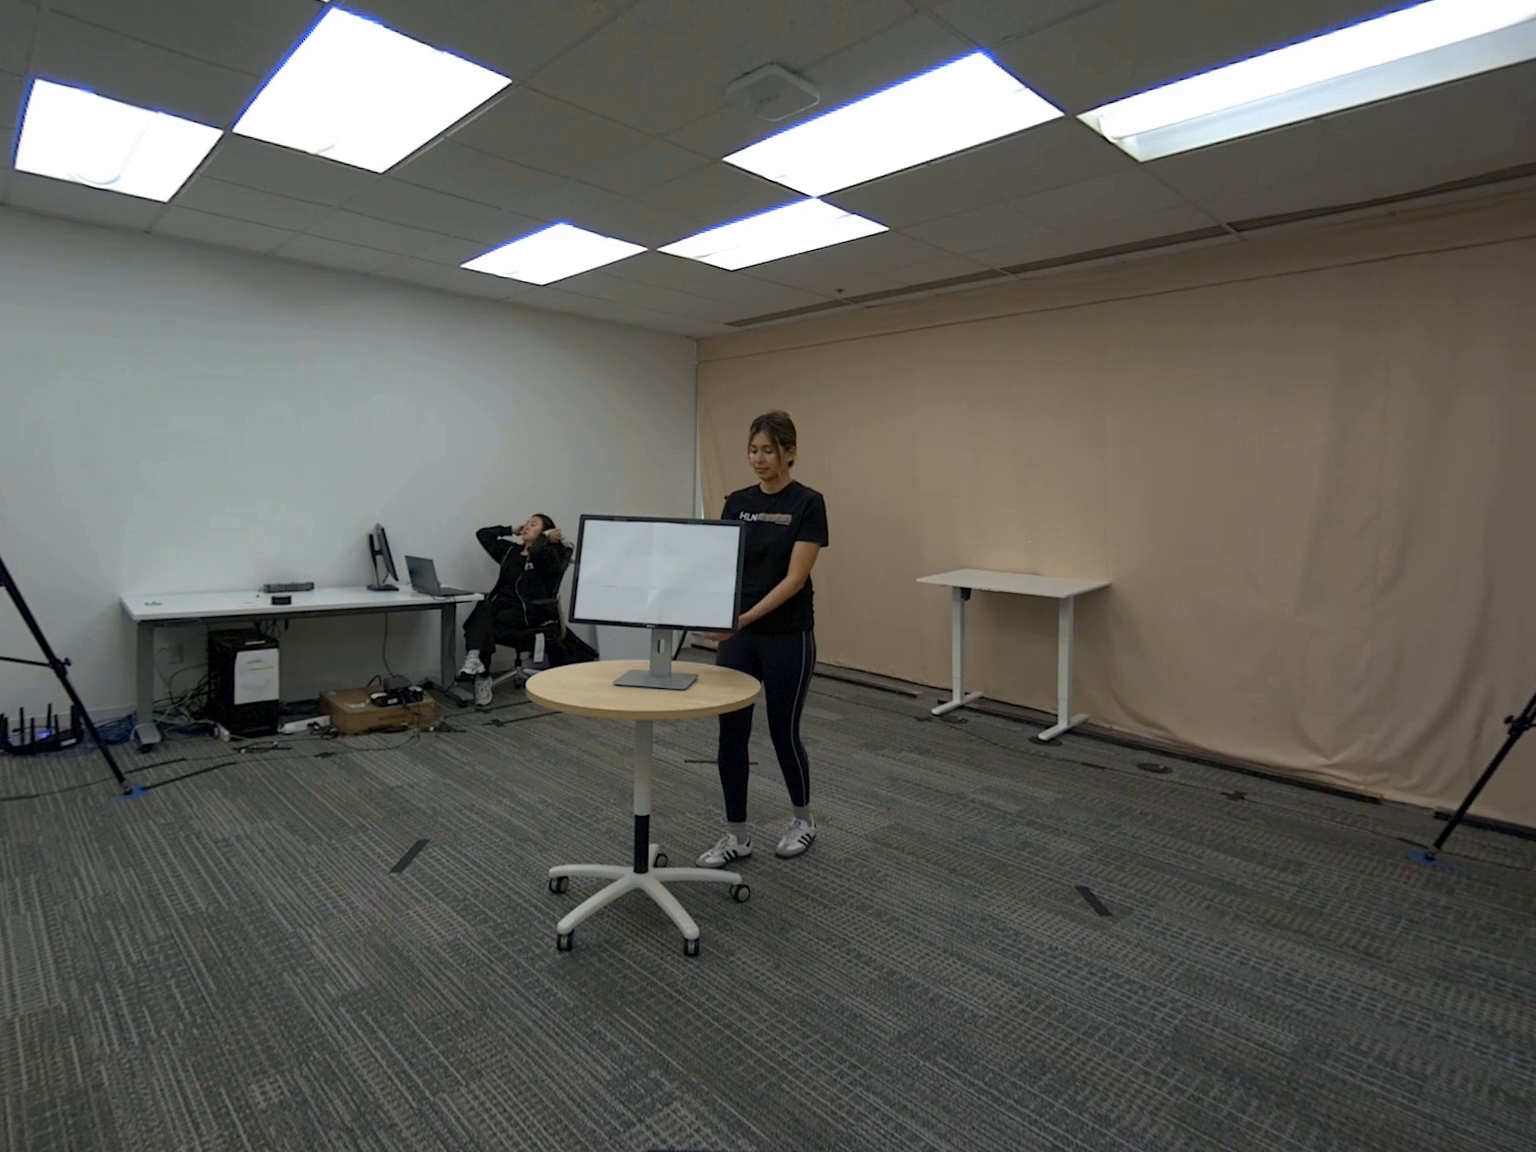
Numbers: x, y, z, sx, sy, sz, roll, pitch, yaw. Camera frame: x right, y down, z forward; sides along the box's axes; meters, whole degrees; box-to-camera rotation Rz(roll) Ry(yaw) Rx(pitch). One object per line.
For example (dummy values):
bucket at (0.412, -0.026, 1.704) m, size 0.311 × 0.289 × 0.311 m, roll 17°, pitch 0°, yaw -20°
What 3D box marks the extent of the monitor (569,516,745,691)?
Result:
monitor at (-0.360, 0.087, 2.767) m, size 0.542 × 0.521 × 0.186 m, roll 3°, pitch 4°, yaw 8°
